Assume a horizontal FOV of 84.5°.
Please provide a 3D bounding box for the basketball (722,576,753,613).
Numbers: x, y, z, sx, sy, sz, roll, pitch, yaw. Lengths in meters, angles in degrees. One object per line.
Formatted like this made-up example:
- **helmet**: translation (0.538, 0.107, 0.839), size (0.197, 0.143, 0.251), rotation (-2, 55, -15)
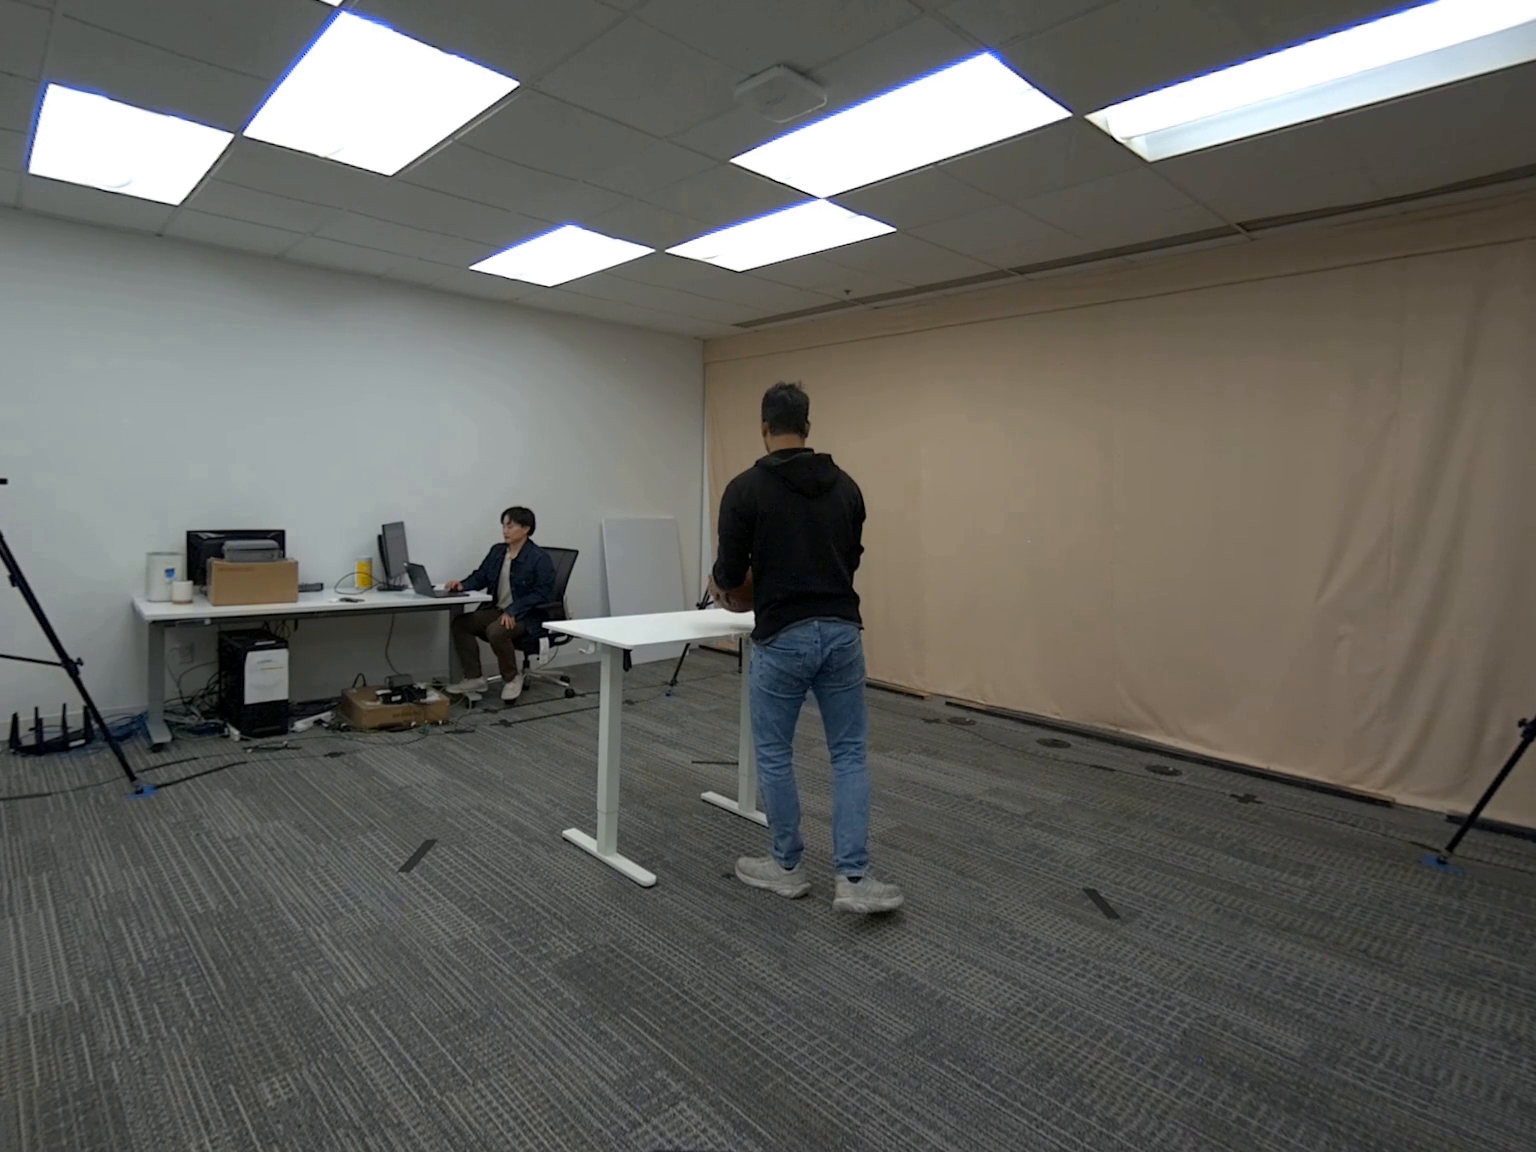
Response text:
- **basketball**: translation (-0.107, 0.038, 3.325), size (0.236, 0.235, 0.237), rotation (1, 4, -1)
